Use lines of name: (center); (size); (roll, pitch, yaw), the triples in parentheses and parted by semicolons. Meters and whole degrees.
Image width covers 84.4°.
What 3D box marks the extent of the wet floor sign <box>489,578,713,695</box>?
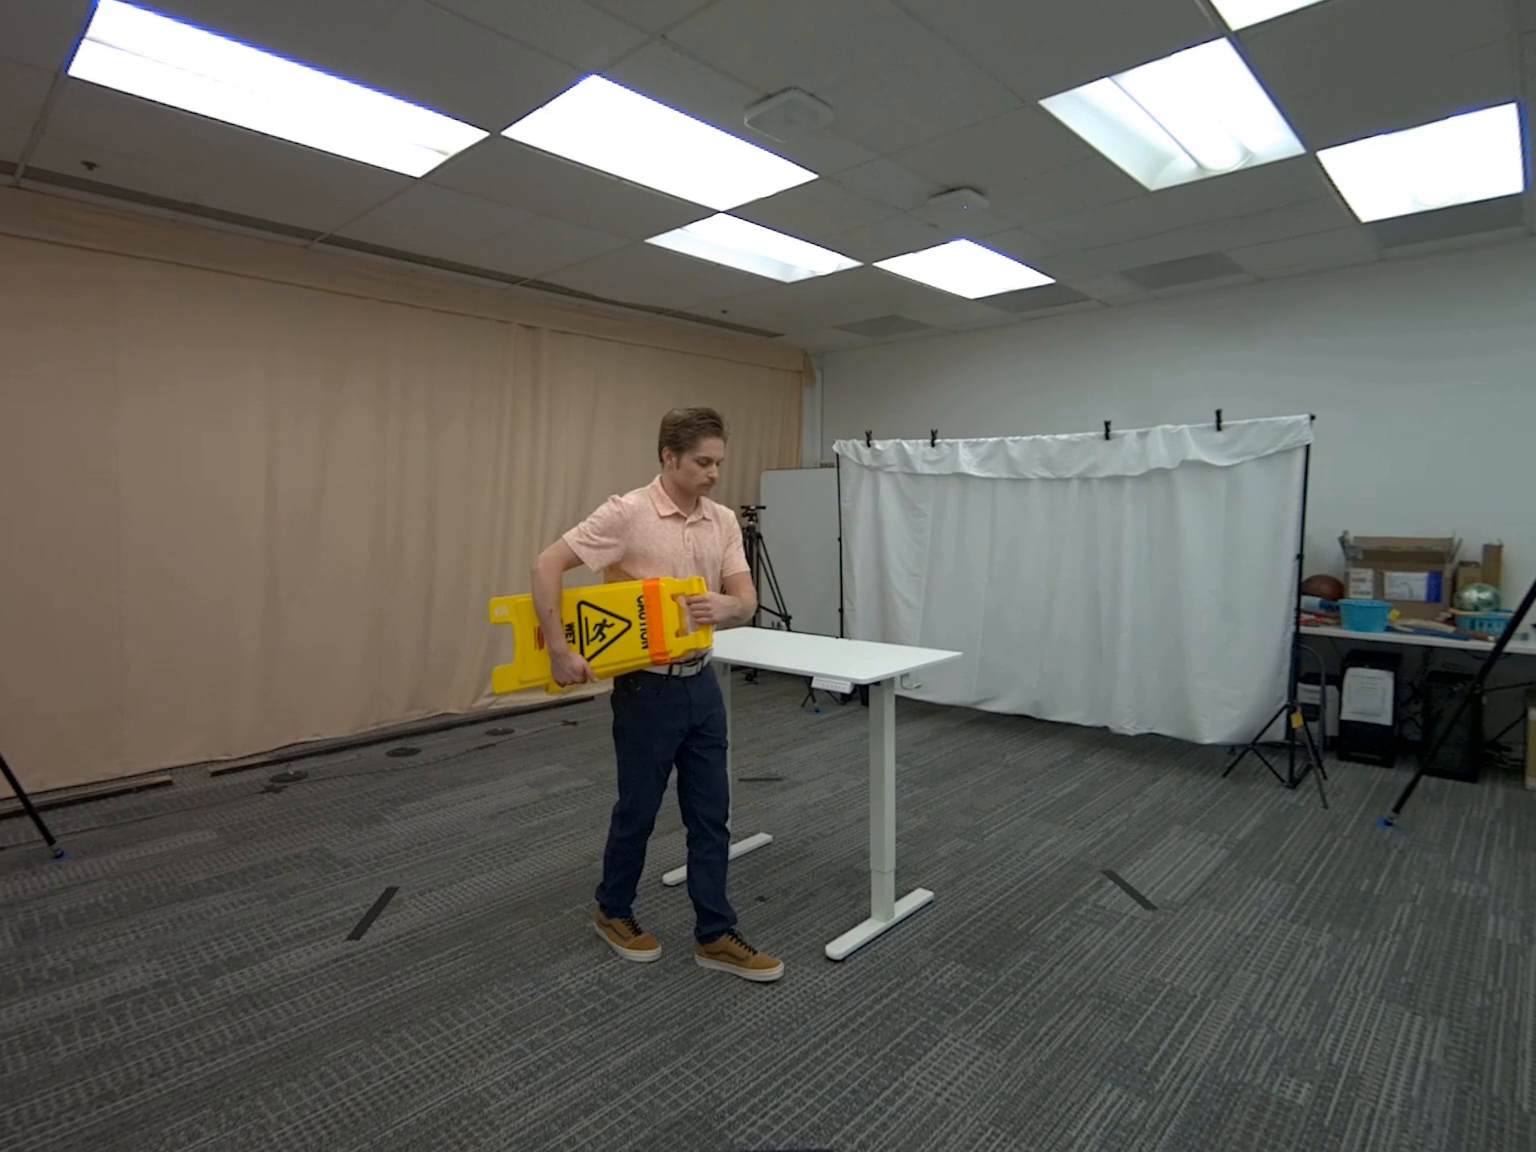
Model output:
wet floor sign: (-0.460, 0.163, 2.418); (0.659, 0.285, 0.281); (-13, -13, 23)
